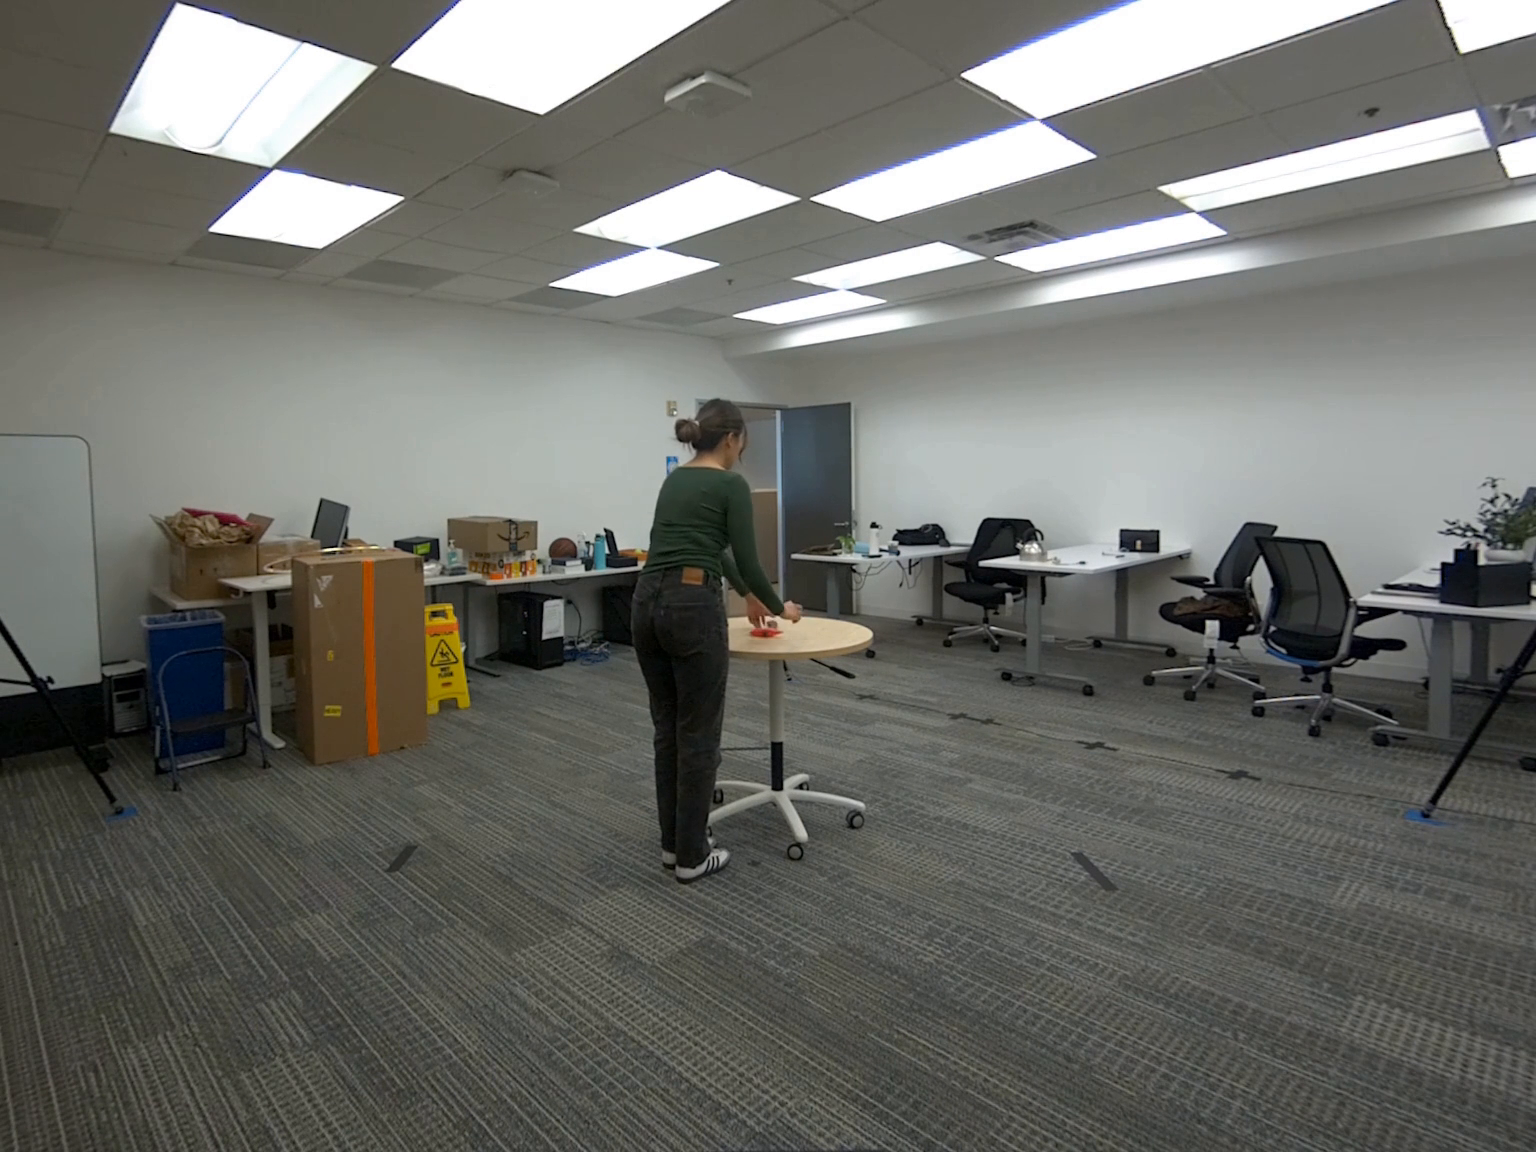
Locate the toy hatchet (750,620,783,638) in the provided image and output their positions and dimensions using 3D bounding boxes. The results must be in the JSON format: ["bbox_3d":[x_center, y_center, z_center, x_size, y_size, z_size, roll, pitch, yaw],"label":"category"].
[{"bbox_3d":[-0.013,0.211,3.435,0.130,0.029,0.272,-6,5,-6],"label":"toy hatchet"}]
